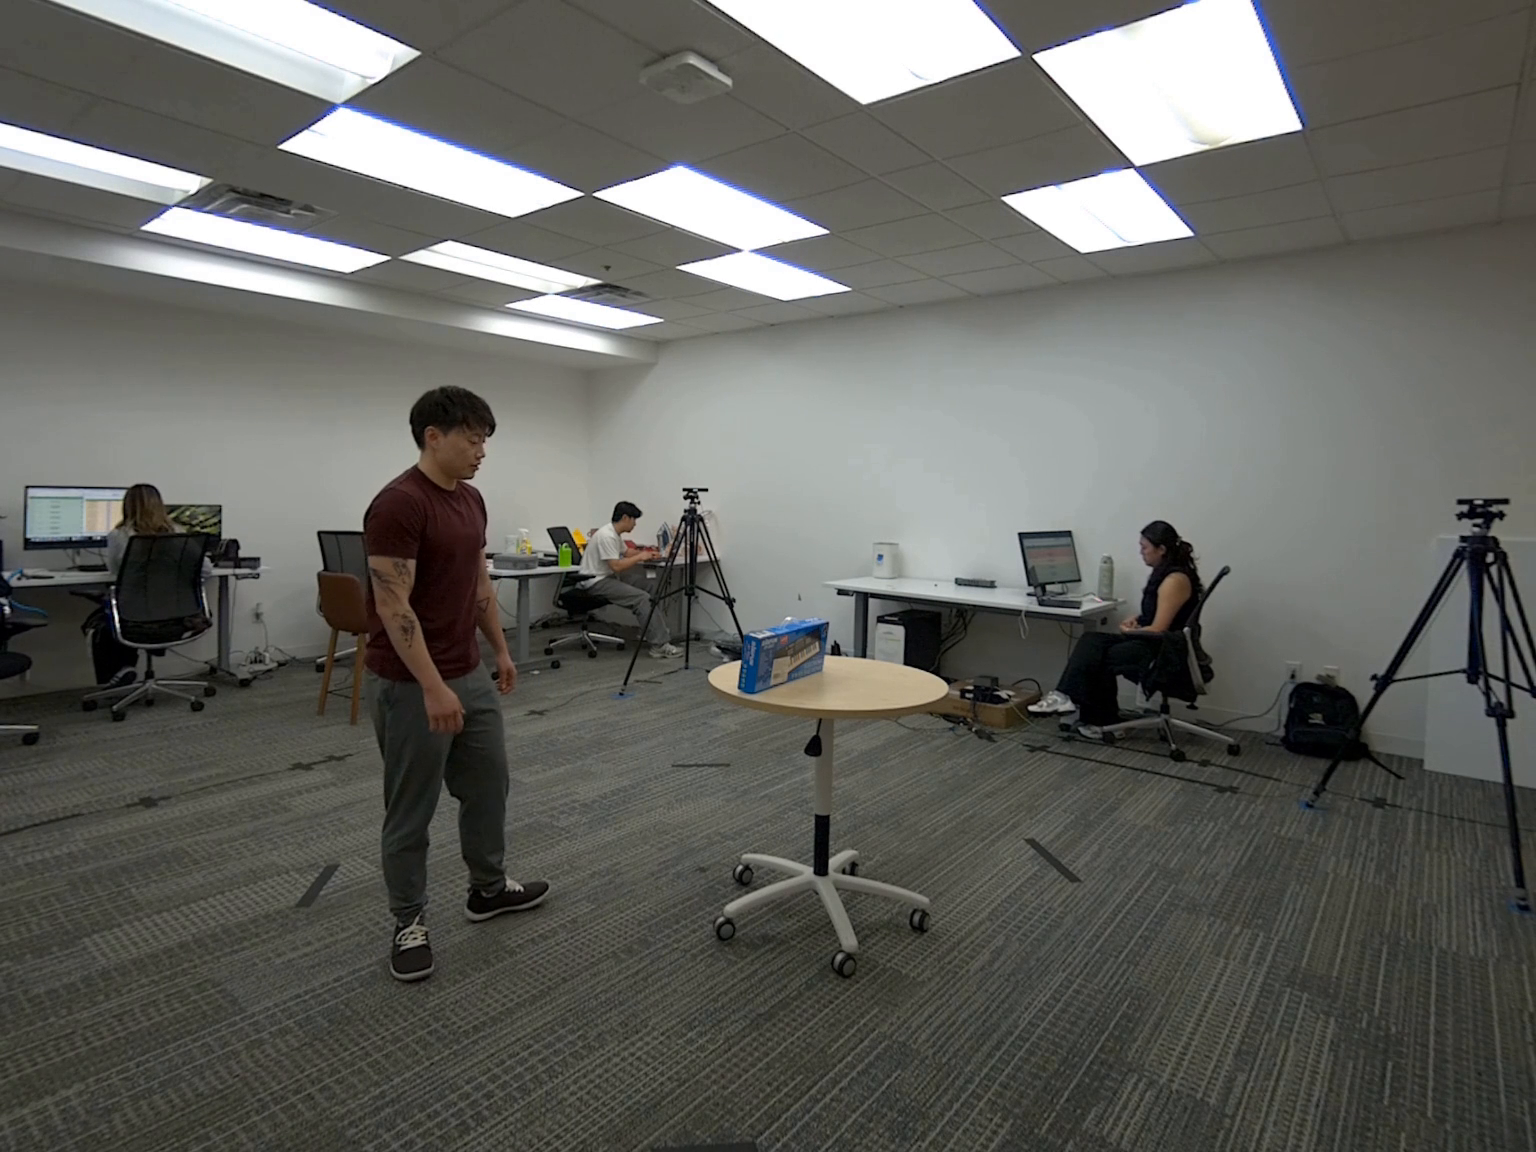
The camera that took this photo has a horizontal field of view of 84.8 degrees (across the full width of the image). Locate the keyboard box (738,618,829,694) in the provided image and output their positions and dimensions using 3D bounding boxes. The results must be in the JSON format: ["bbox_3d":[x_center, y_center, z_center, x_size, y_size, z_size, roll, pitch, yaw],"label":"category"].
[{"bbox_3d":[0.049,0.250,2.697,0.061,0.175,0.425,11,10,32],"label":"keyboard box"}]
